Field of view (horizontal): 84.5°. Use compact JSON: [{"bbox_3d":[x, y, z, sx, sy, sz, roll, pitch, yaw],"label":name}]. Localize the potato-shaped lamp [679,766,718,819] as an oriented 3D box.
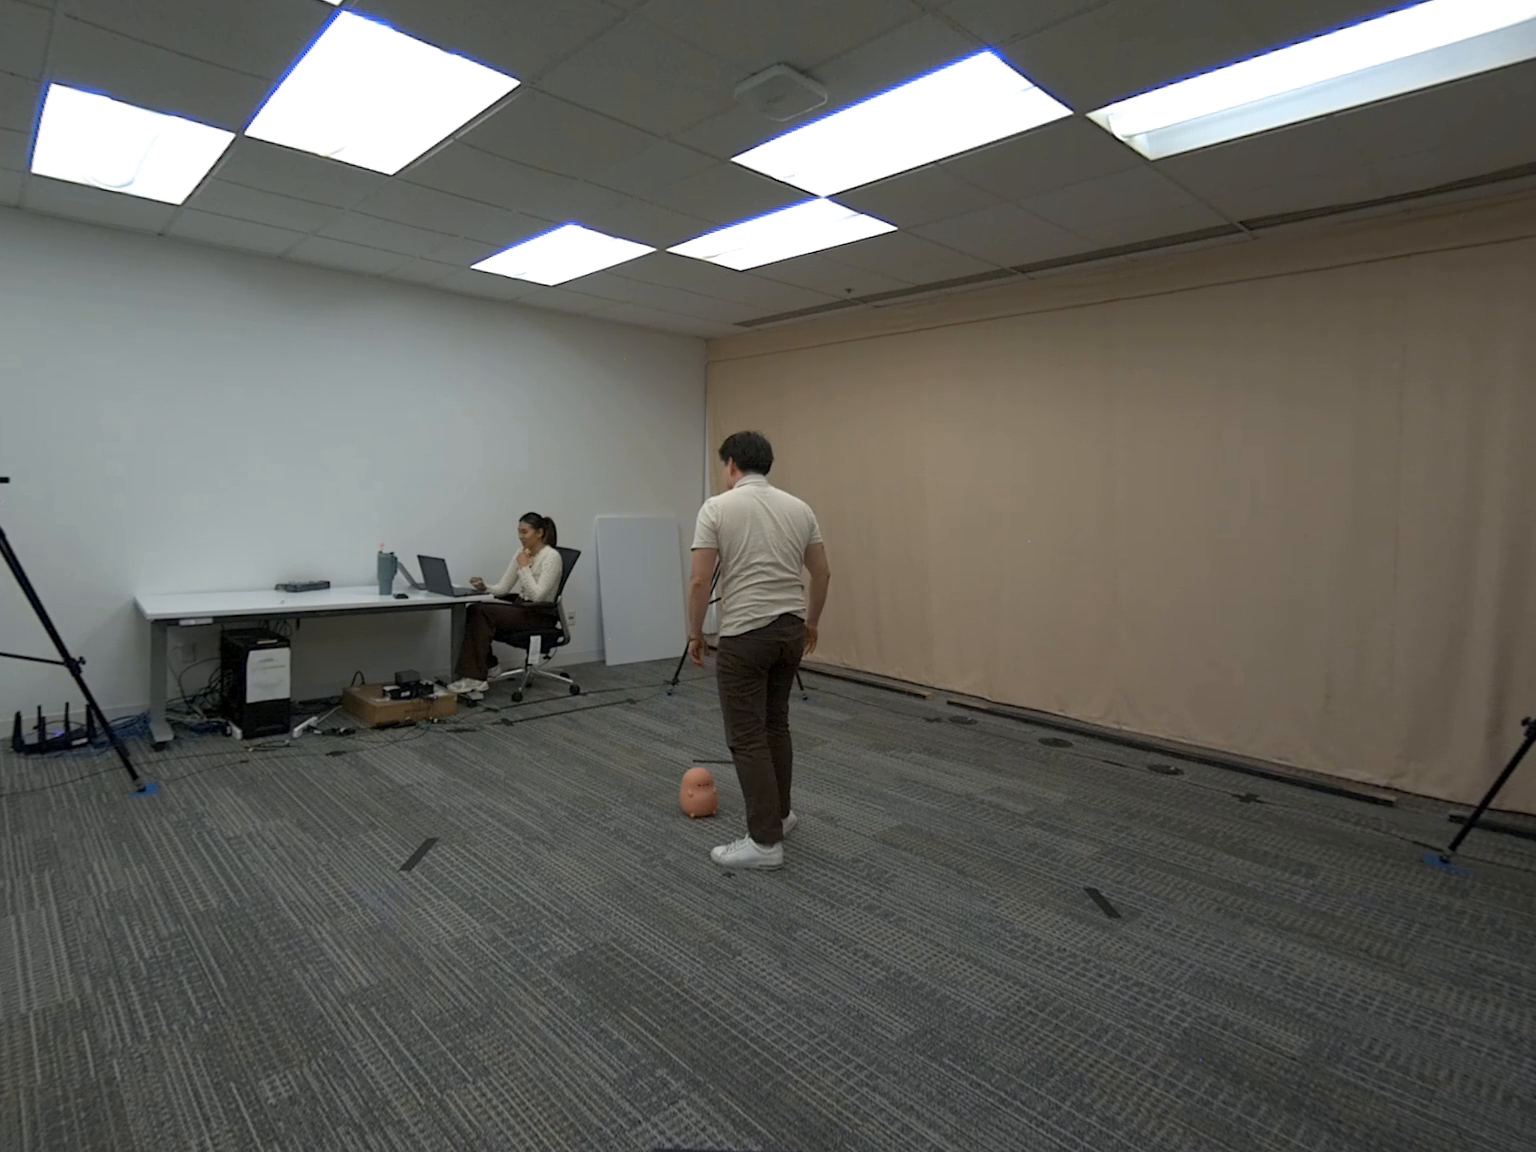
[{"bbox_3d":[-0.318,0.946,3.715,0.162,0.198,0.175,1,2,-25],"label":"potato-shaped lamp"}]
